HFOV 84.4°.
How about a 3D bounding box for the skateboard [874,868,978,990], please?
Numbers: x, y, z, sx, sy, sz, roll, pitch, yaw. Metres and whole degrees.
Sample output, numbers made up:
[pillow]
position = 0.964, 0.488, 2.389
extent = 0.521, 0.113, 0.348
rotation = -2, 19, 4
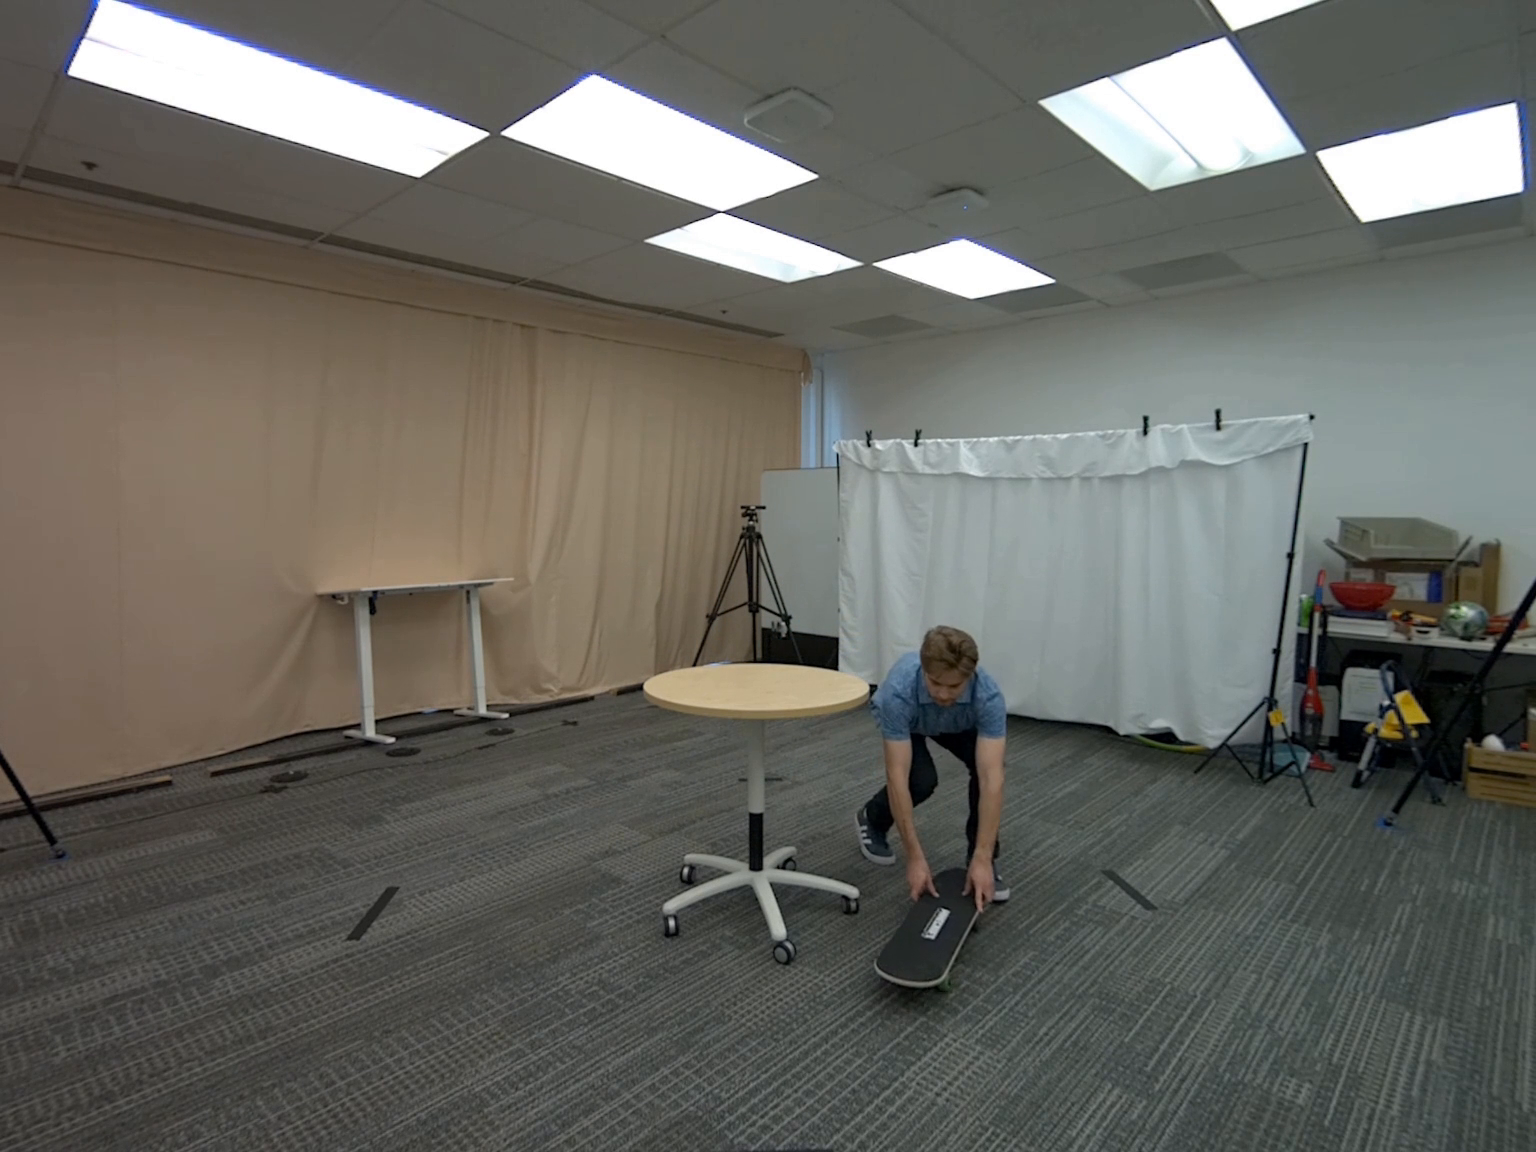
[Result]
[skateboard]
position = 0.531, 1.115, 2.626
extent = 0.199, 0.110, 0.766
rotation = 2, 5, 26
